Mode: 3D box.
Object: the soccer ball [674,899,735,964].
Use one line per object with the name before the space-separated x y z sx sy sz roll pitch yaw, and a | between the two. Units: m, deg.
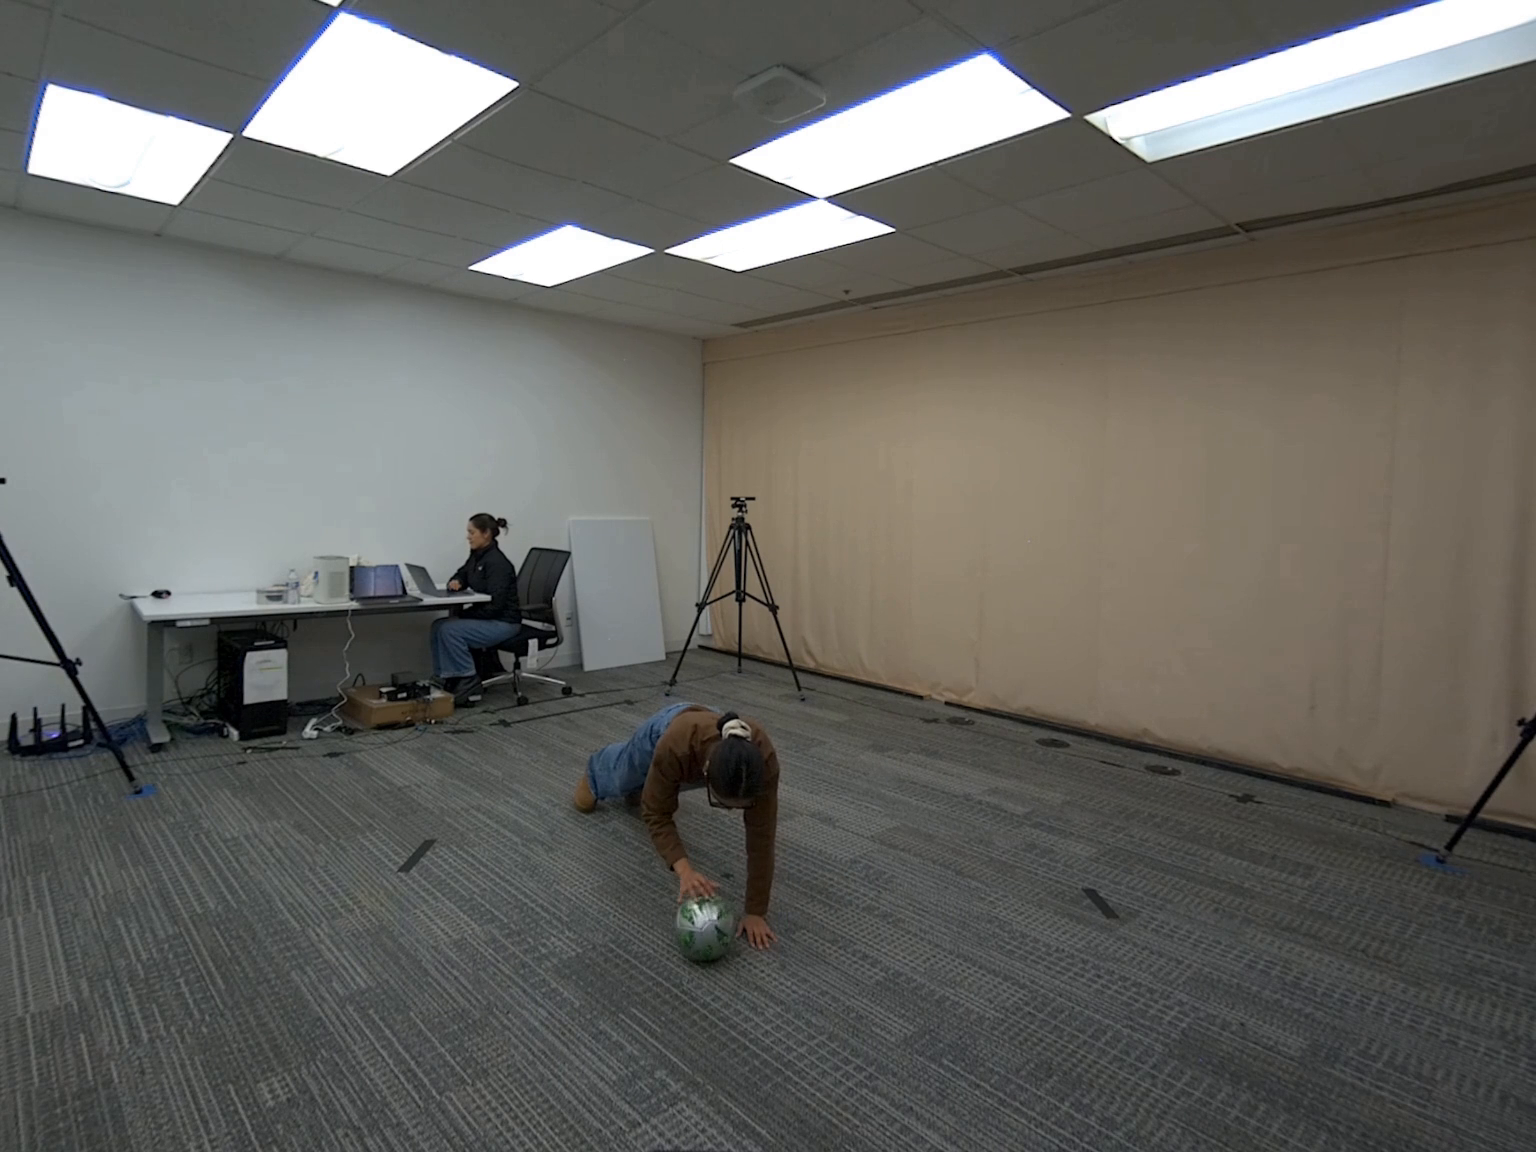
soccer ball | -0.205 1.066 2.543 0.187 0.187 0.188 1 4 -1
